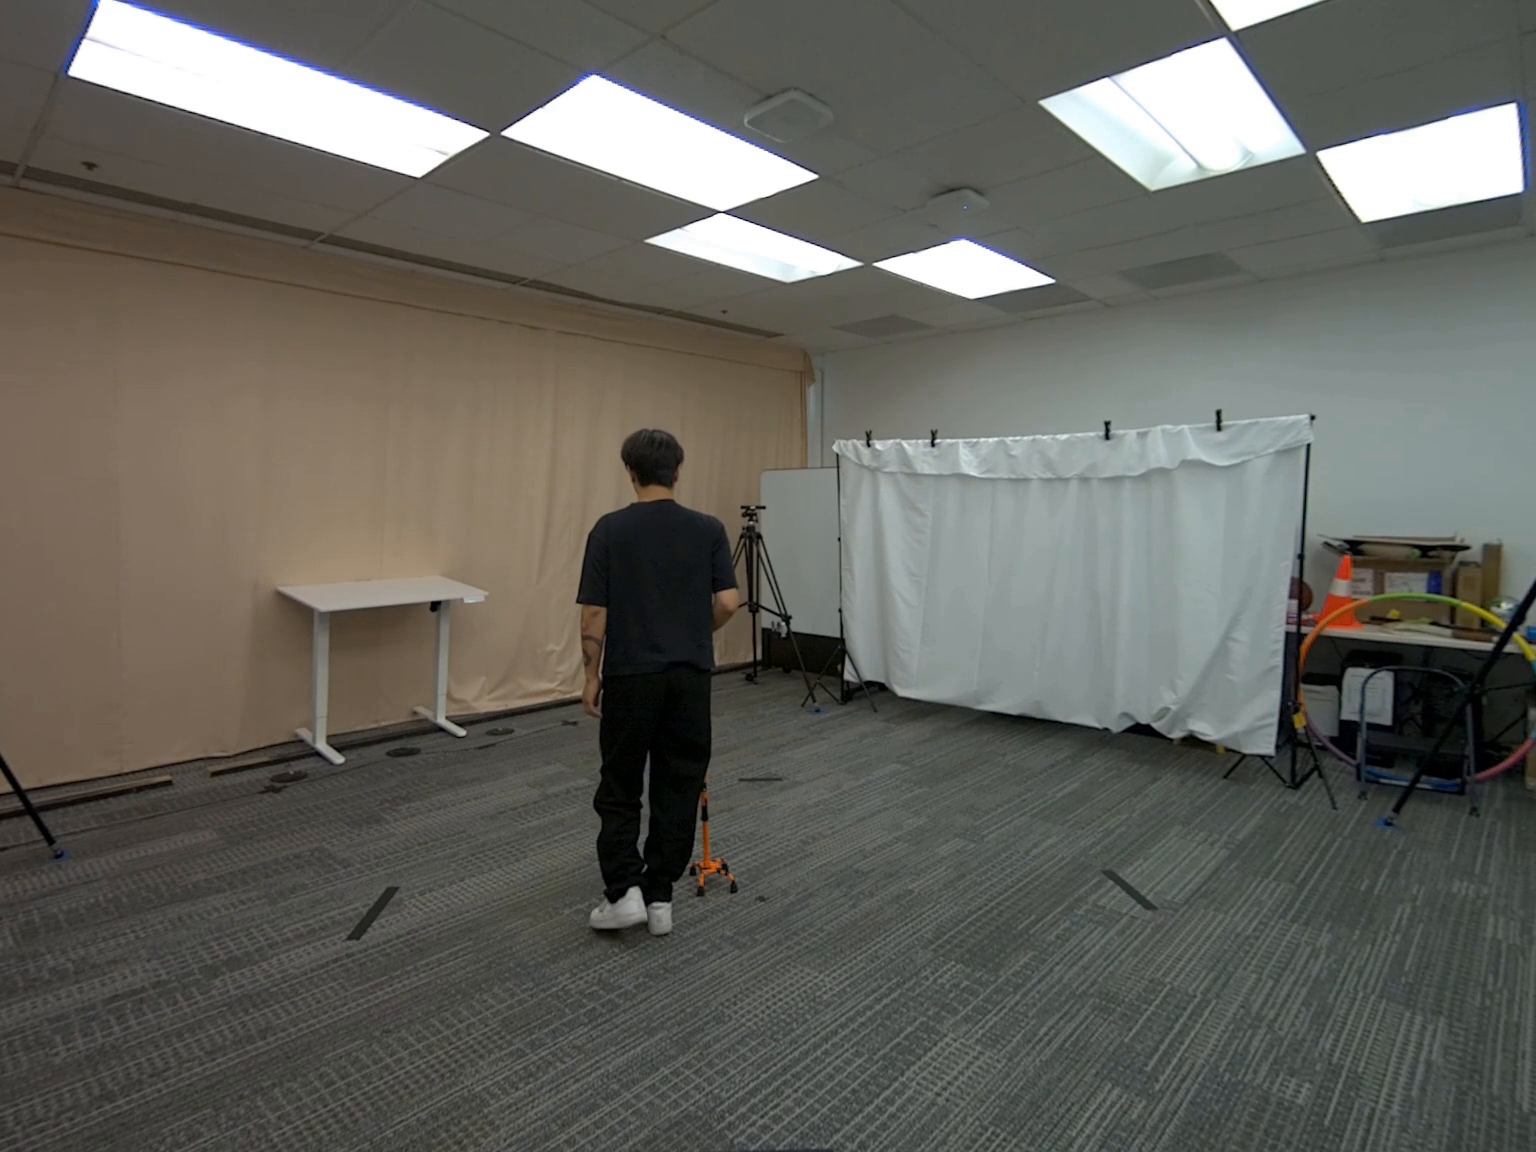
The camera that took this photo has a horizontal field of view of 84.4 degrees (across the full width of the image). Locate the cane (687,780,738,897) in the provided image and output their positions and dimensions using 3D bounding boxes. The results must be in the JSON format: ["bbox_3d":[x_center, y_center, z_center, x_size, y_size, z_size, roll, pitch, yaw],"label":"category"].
[{"bbox_3d":[-0.216,0.686,3.096,0.150,0.907,0.209,-3,1,-13],"label":"cane"}]
